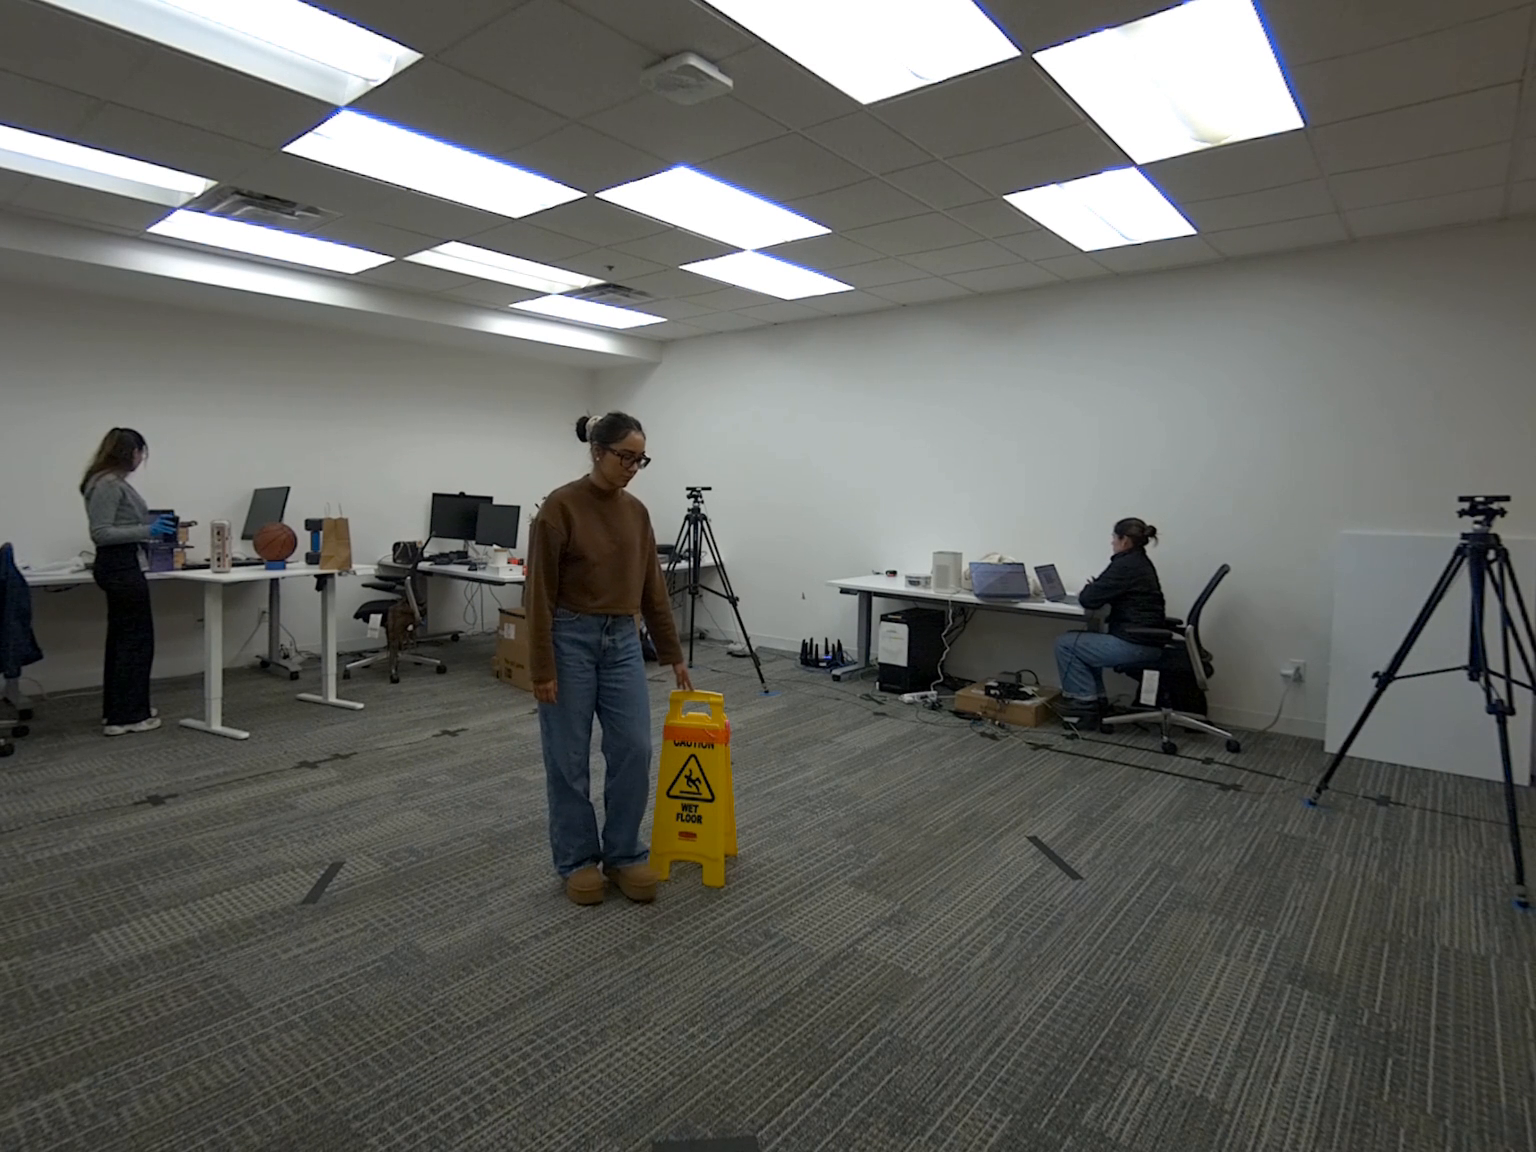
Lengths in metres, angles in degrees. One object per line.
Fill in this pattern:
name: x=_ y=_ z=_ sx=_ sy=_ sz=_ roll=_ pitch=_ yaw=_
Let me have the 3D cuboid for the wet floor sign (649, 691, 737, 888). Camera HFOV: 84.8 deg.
wet floor sign: x=-0.280 y=0.743 z=3.099 sx=0.286 sy=0.644 sz=0.287 roll=1 pitch=4 yaw=10
